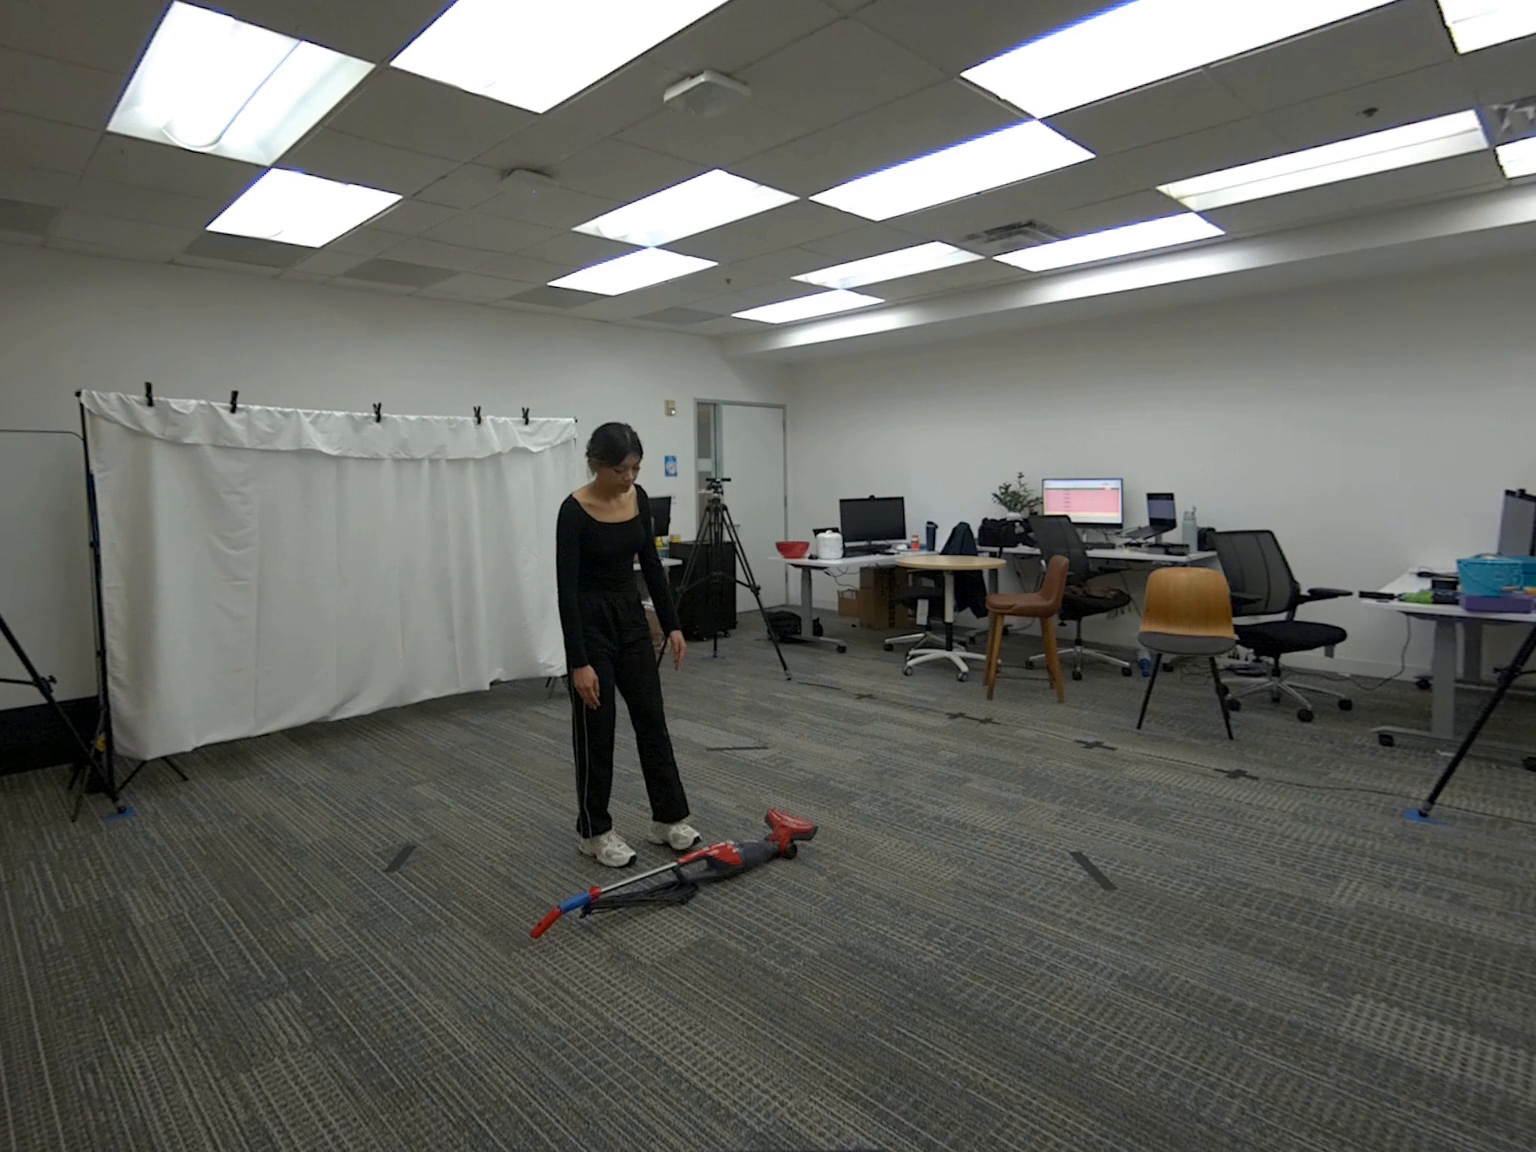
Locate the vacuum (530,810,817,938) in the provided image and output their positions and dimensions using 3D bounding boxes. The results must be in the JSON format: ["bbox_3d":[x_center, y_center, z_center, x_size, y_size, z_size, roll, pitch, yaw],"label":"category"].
[{"bbox_3d":[-0.301,1.017,2.862,1.023,0.143,0.260,-8,6,-40],"label":"vacuum"}]
